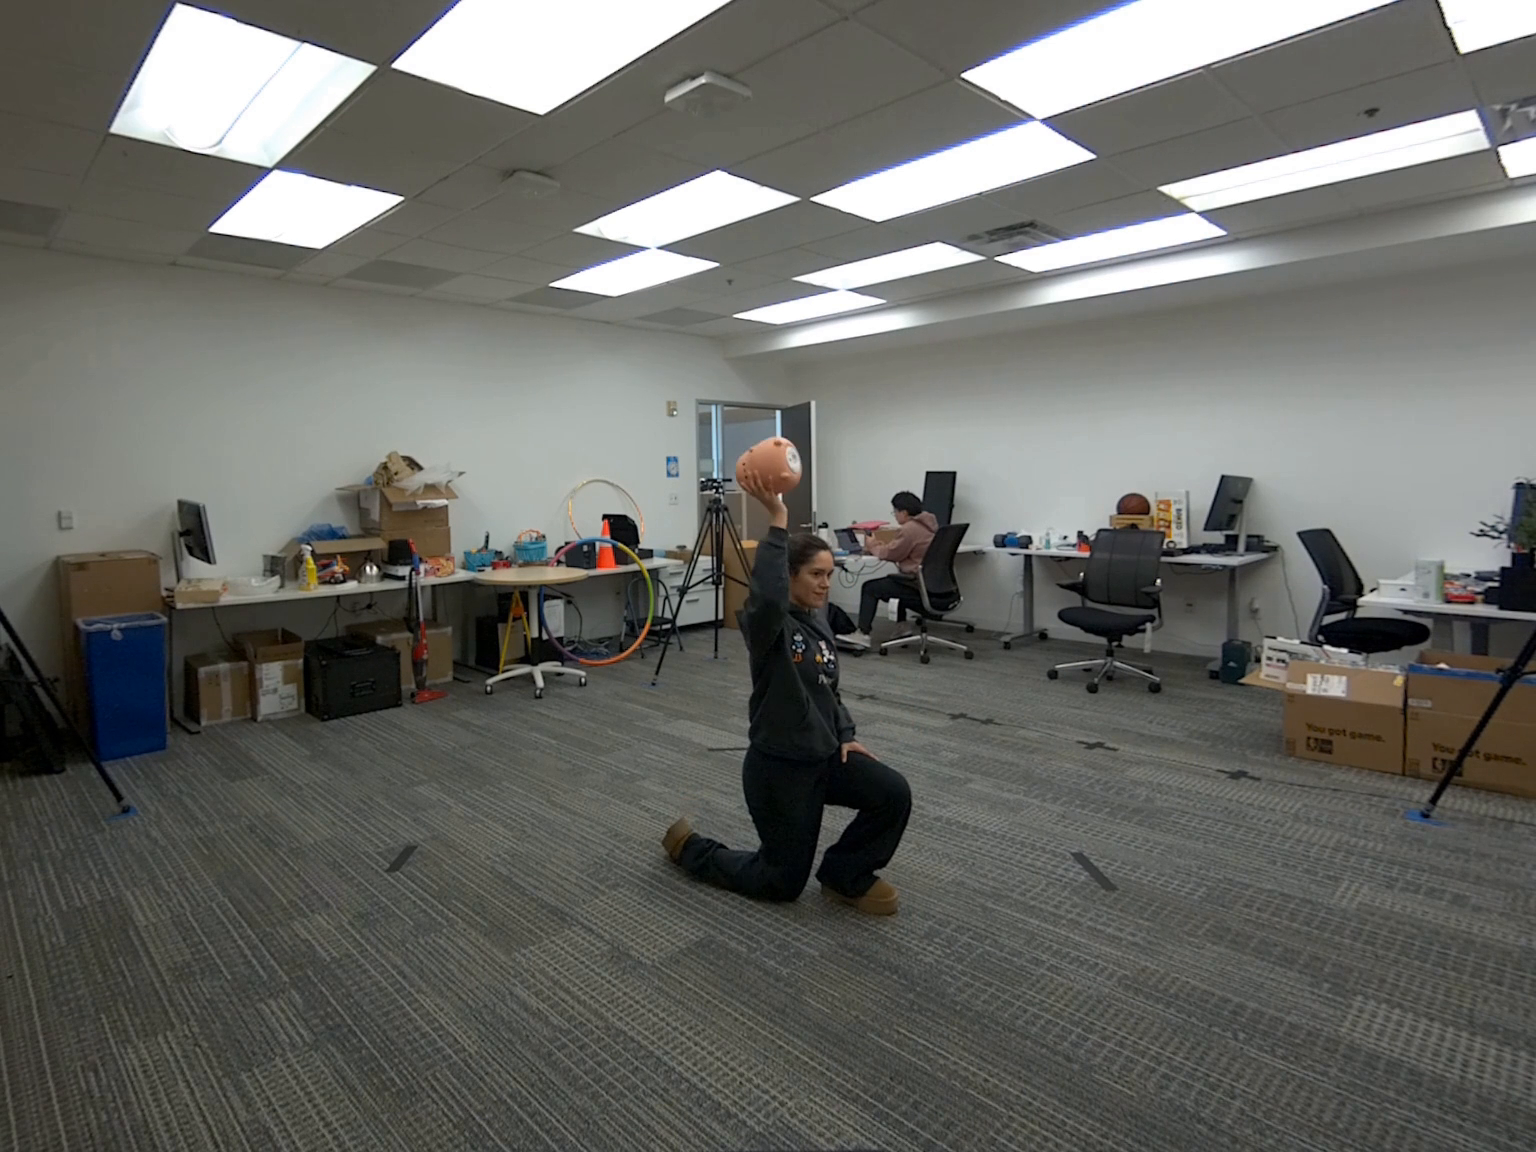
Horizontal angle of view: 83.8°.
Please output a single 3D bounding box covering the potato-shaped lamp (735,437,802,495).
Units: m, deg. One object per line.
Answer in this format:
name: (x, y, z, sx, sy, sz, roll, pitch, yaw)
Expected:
potato-shaped lamp: (0.005, -0.316, 2.537, 0.201, 0.166, 0.167, -14, -4, 28)
